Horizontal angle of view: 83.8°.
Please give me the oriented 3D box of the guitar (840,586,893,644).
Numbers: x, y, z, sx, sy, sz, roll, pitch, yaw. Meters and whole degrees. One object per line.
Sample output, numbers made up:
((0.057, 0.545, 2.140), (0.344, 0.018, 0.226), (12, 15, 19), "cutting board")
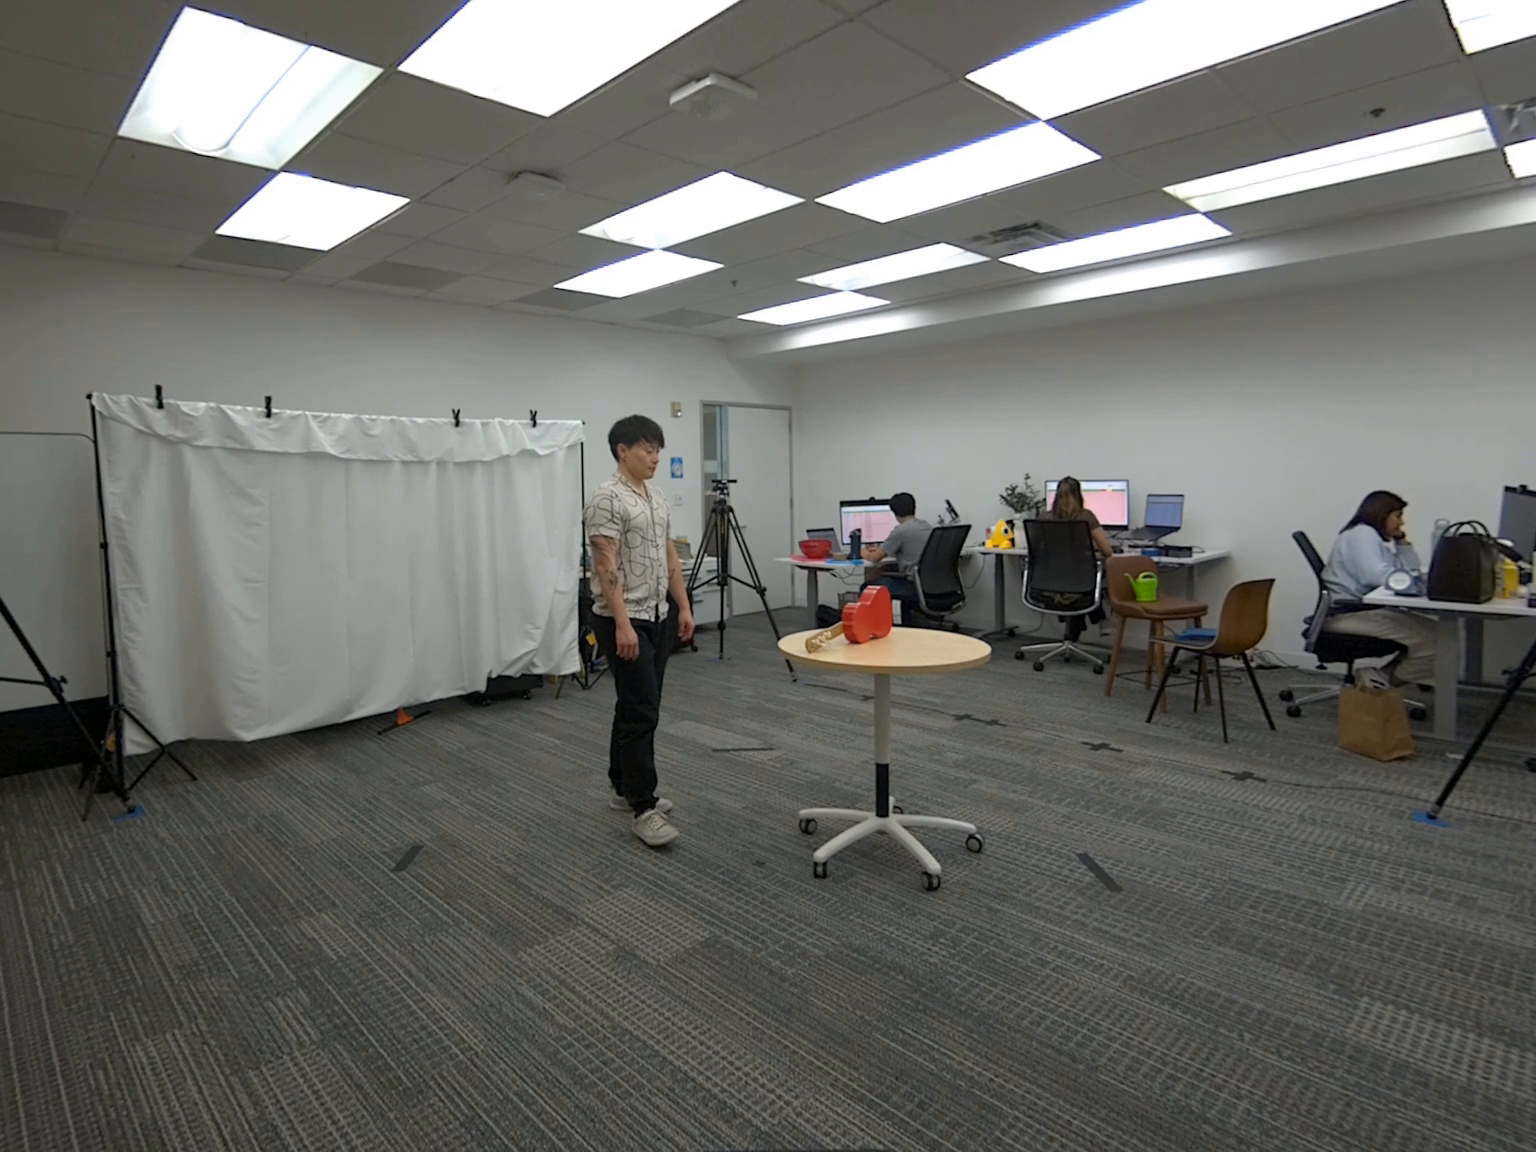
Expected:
((0.313, 0.209, 3.159), (0.073, 0.189, 0.493), (2, 25, 39), "guitar")
